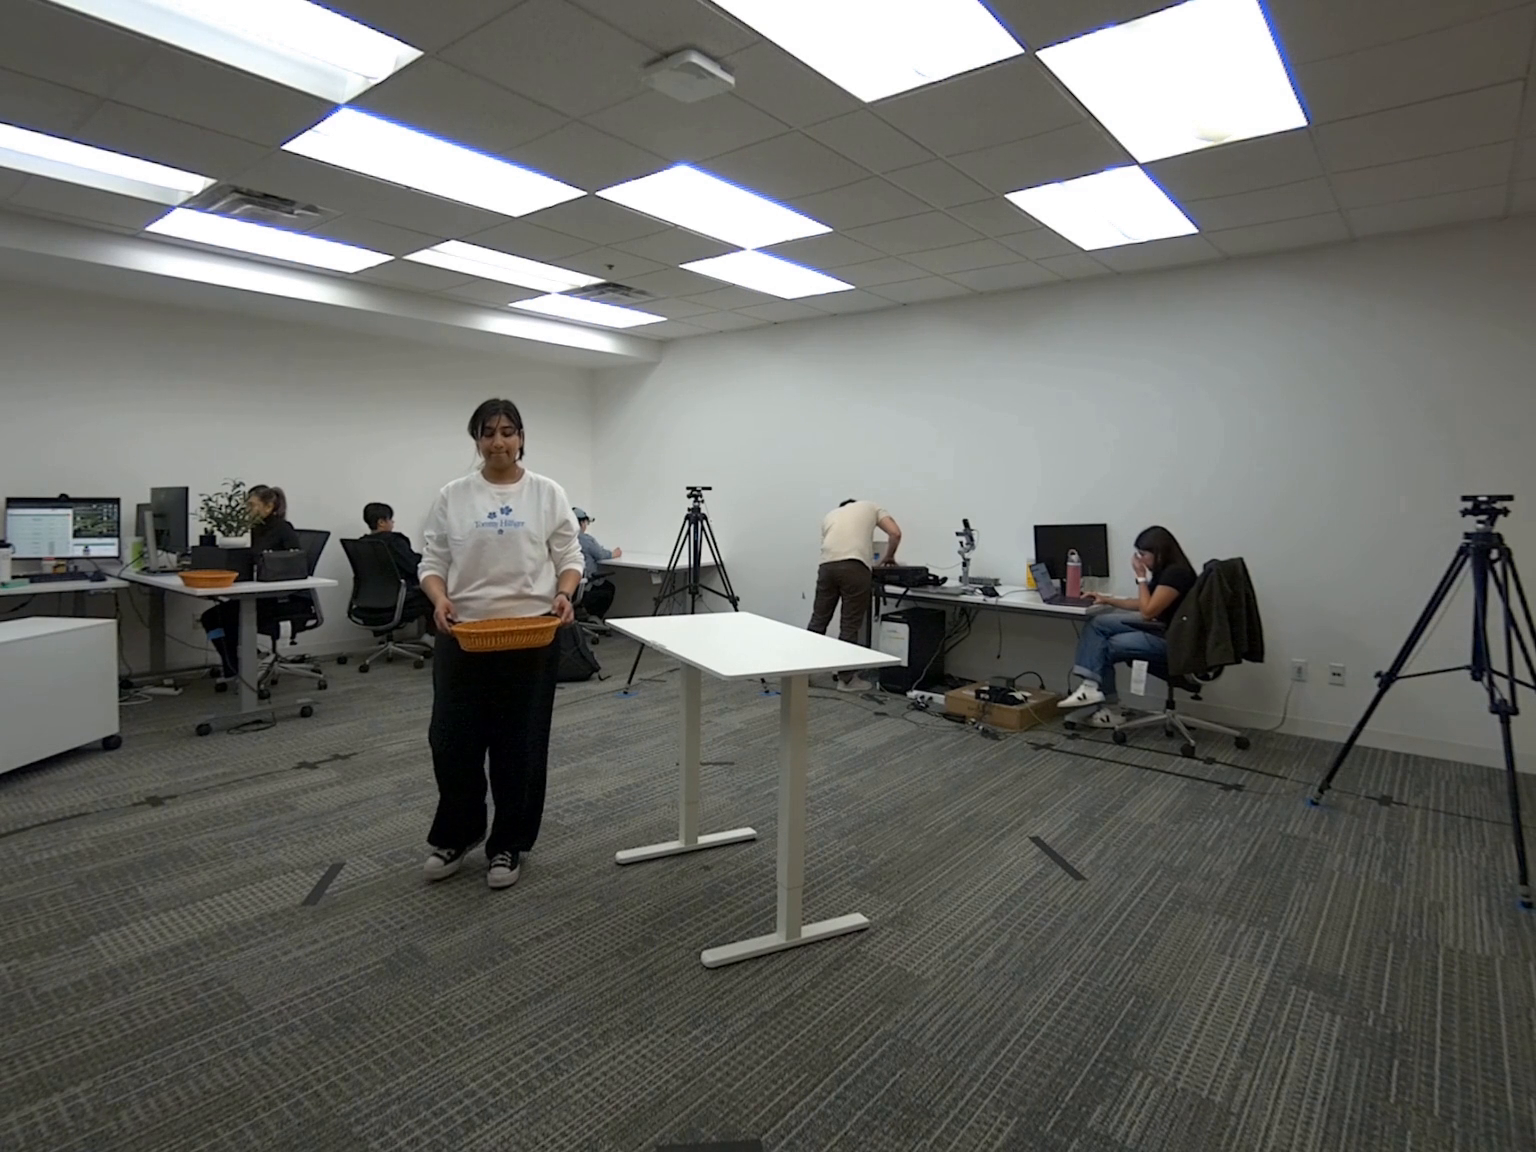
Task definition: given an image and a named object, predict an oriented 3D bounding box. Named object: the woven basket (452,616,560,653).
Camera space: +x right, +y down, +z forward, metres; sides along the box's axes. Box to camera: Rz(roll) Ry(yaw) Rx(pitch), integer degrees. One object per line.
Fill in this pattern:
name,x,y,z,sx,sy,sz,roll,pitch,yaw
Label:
woven basket,-0.870,0.193,2.748,0.345,0.073,0.257,-3,5,-16
